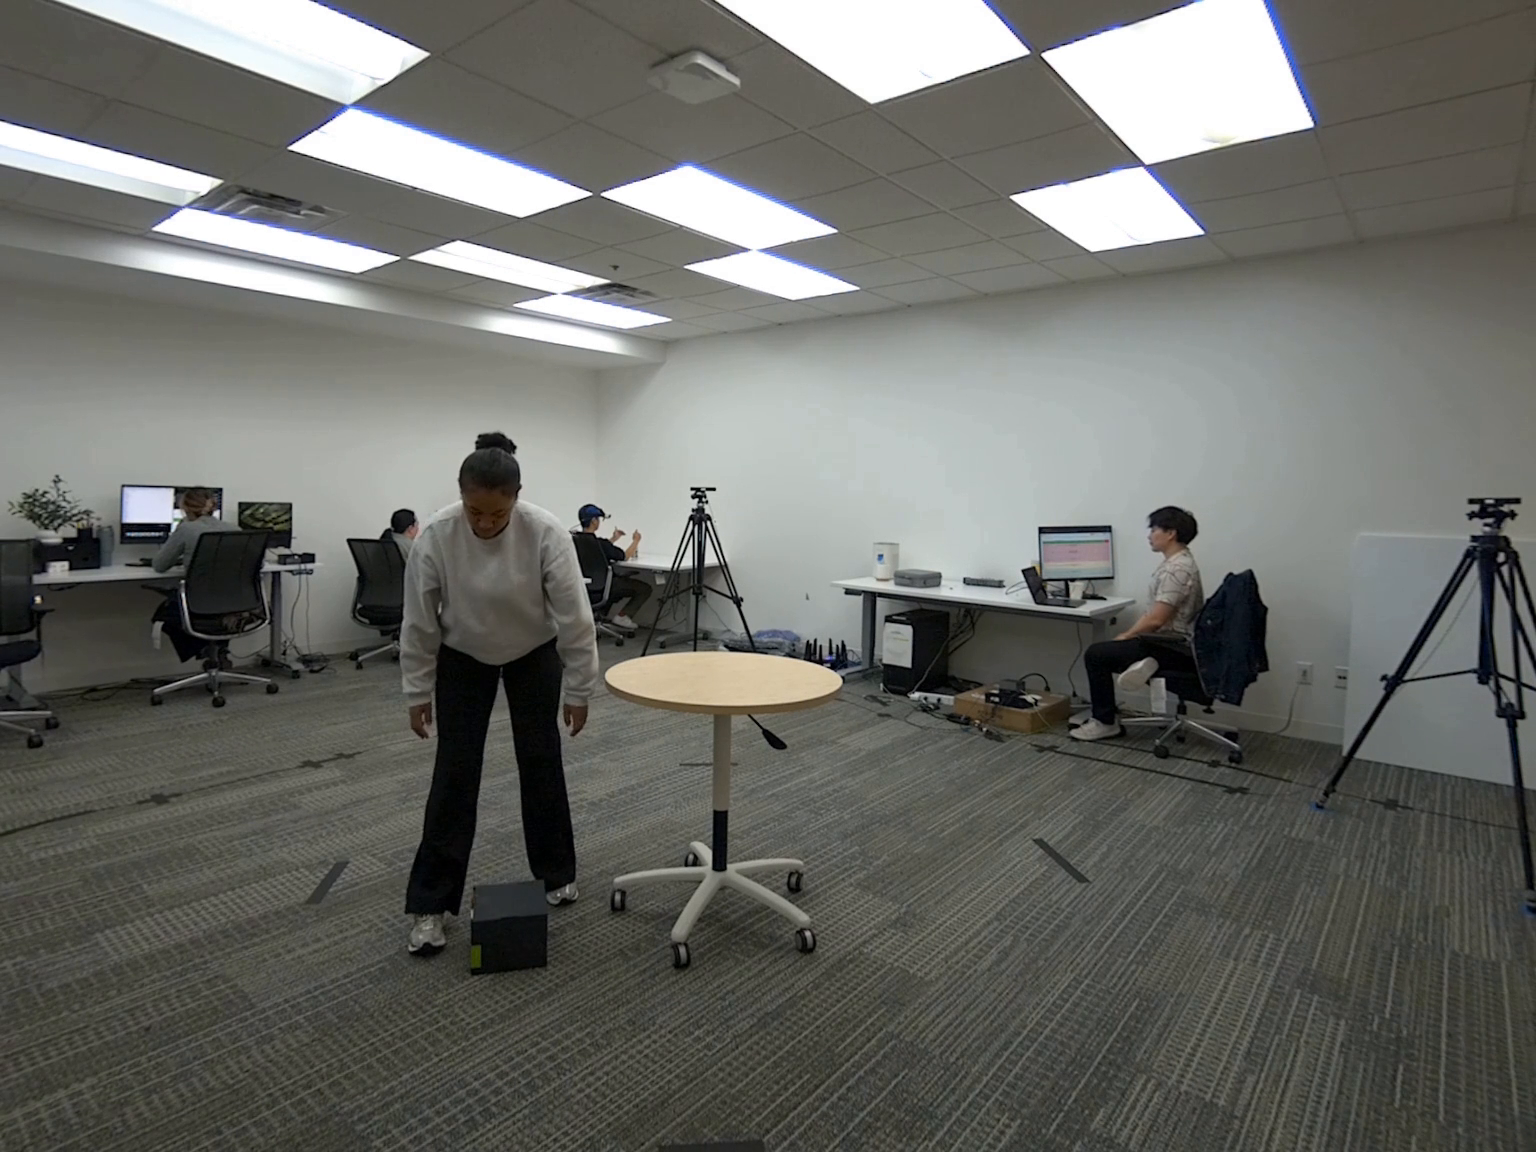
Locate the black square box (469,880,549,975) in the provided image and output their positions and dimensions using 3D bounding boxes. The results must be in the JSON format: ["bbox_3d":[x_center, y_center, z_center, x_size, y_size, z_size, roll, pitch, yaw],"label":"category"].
[{"bbox_3d":[-0.783,1.038,2.524,0.214,0.155,0.232,0,5,-15],"label":"black square box"}]
